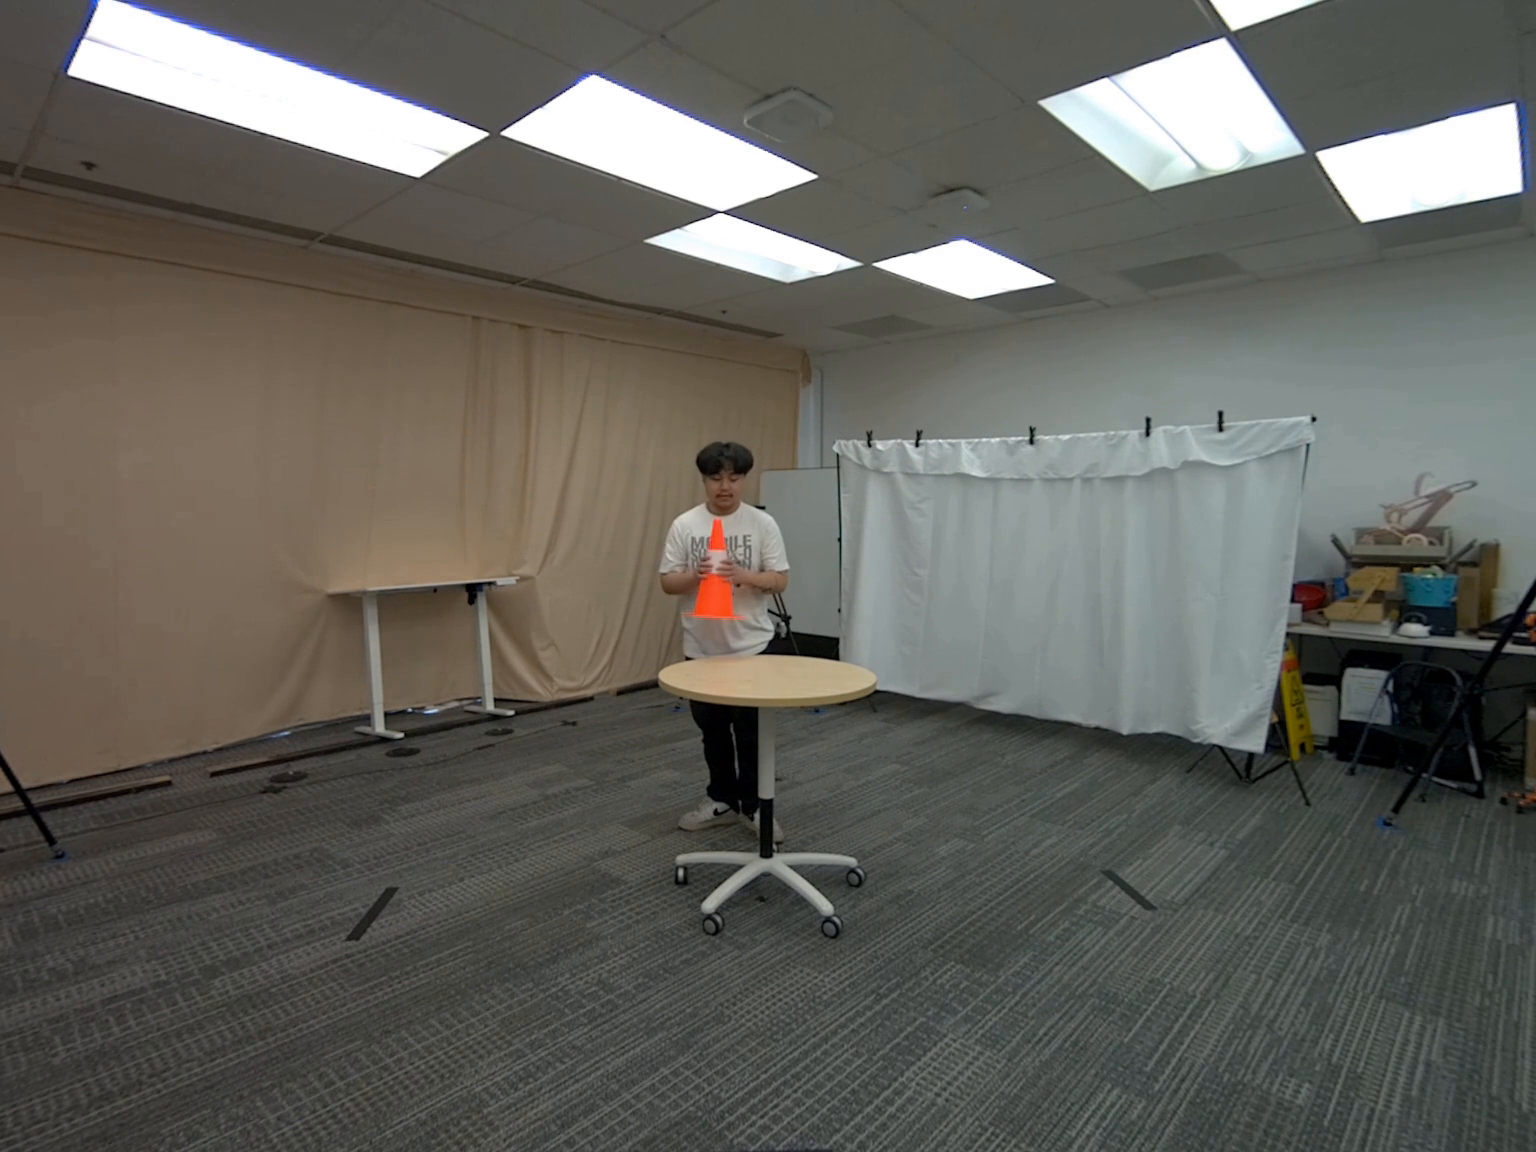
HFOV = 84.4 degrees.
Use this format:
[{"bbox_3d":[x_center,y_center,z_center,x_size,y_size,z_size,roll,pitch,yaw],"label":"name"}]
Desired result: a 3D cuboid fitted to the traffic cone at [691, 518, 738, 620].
[{"bbox_3d":[-0.207,-0.032,3.332,0.210,0.383,0.198,4,1,24],"label":"traffic cone"}]
